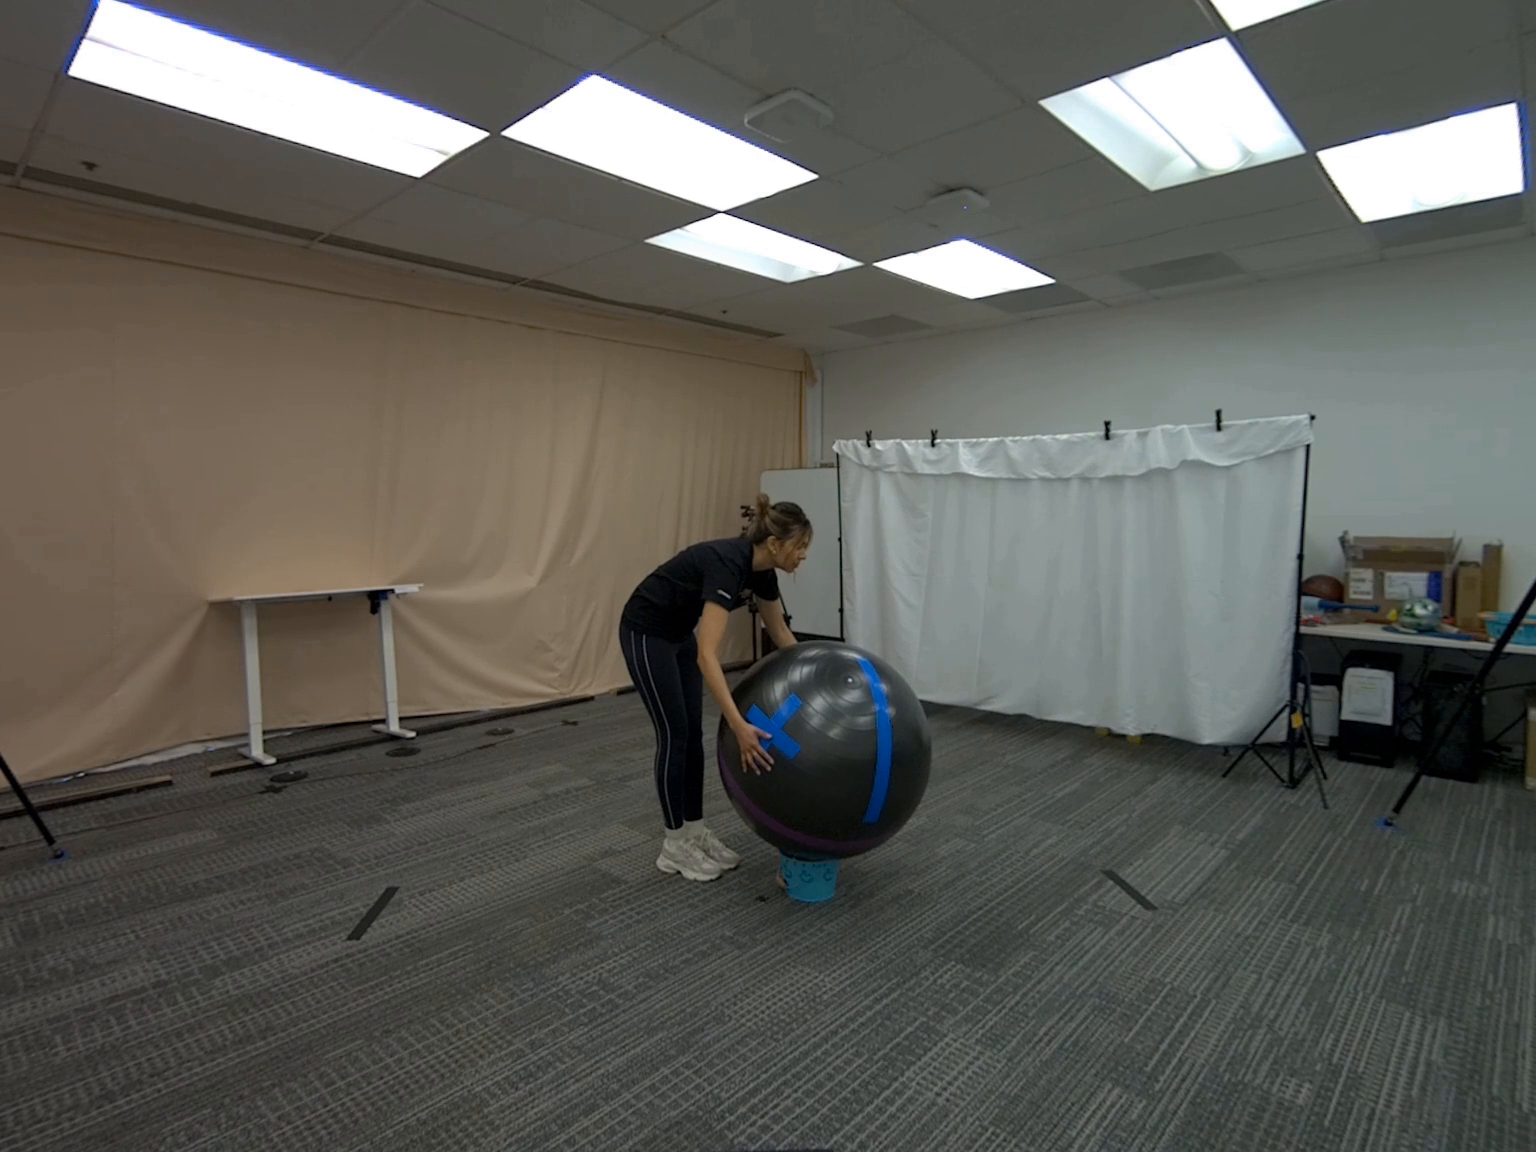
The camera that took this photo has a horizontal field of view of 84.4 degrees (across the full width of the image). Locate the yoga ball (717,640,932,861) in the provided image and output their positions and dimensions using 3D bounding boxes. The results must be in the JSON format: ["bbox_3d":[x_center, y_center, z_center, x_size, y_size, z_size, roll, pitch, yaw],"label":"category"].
[{"bbox_3d":[0.203,0.616,3.008,0.757,0.756,0.760,0,4,-2],"label":"yoga ball"}]
